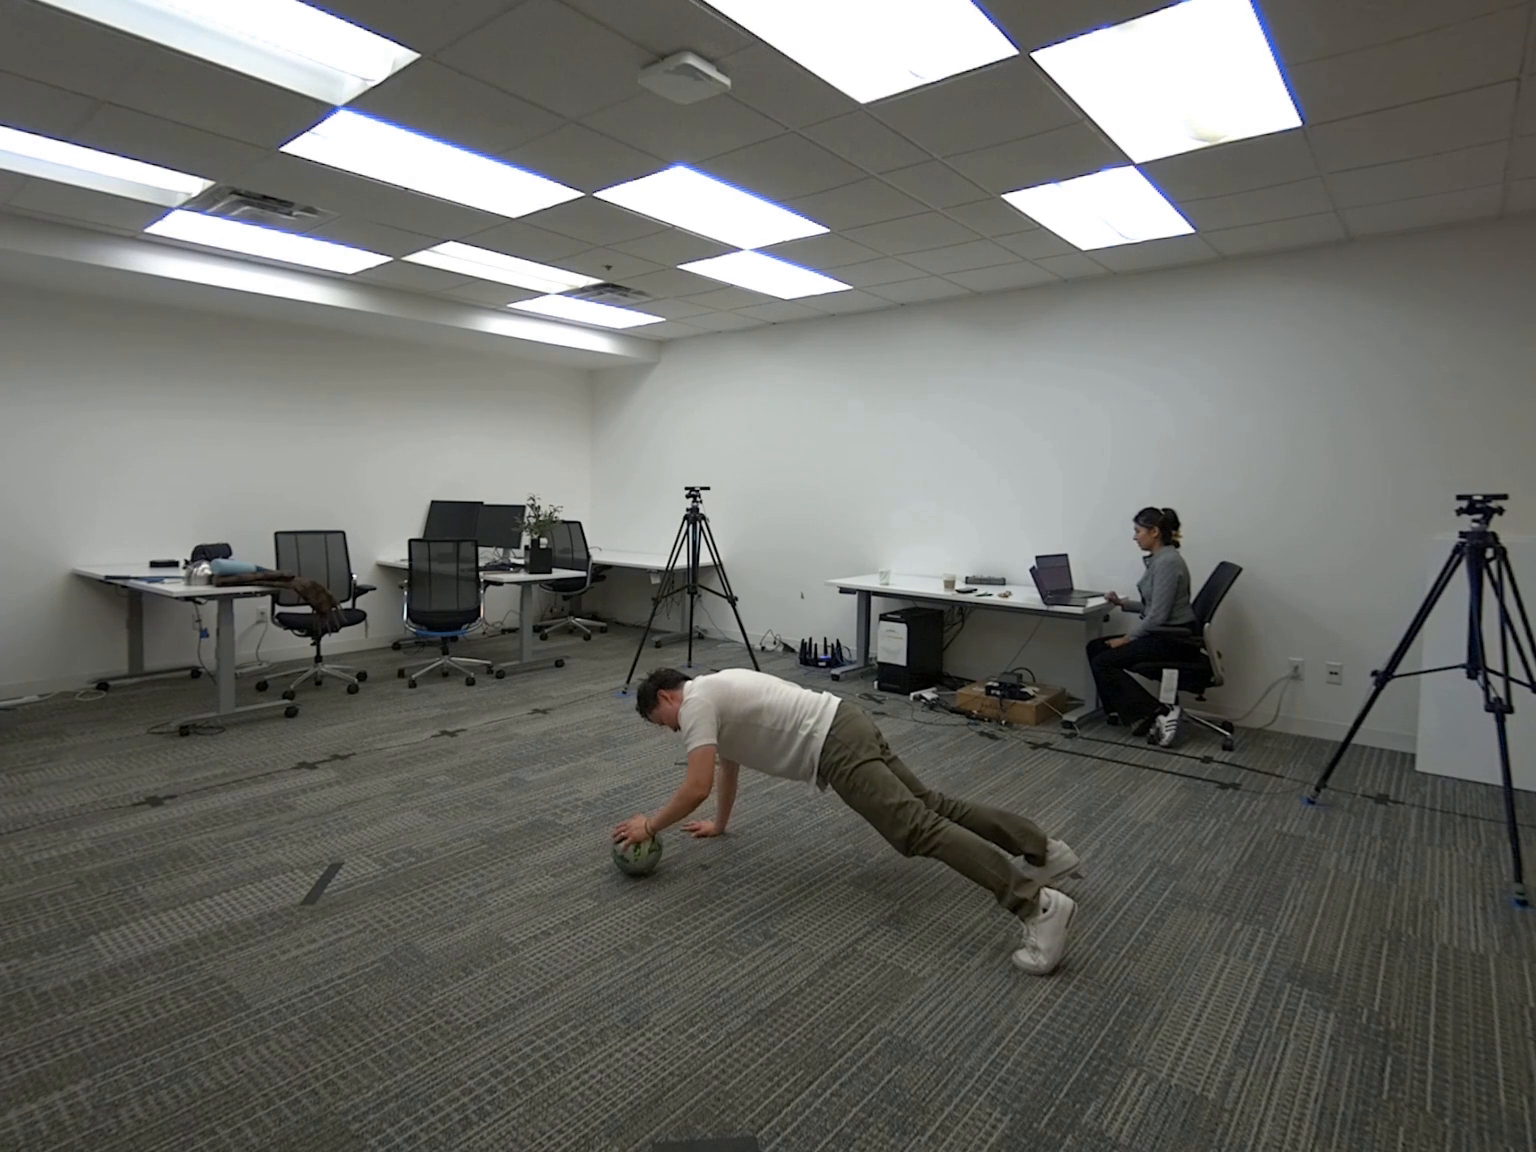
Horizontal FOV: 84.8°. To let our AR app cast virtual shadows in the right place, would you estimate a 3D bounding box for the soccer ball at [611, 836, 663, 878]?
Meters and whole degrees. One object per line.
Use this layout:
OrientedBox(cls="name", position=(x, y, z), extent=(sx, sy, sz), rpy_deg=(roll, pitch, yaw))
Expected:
OrientedBox(cls="soccer ball", position=(-0.467, 0.977, 3.082), extent=(0.187, 0.187, 0.188), rpy_deg=(1, 4, -2))
